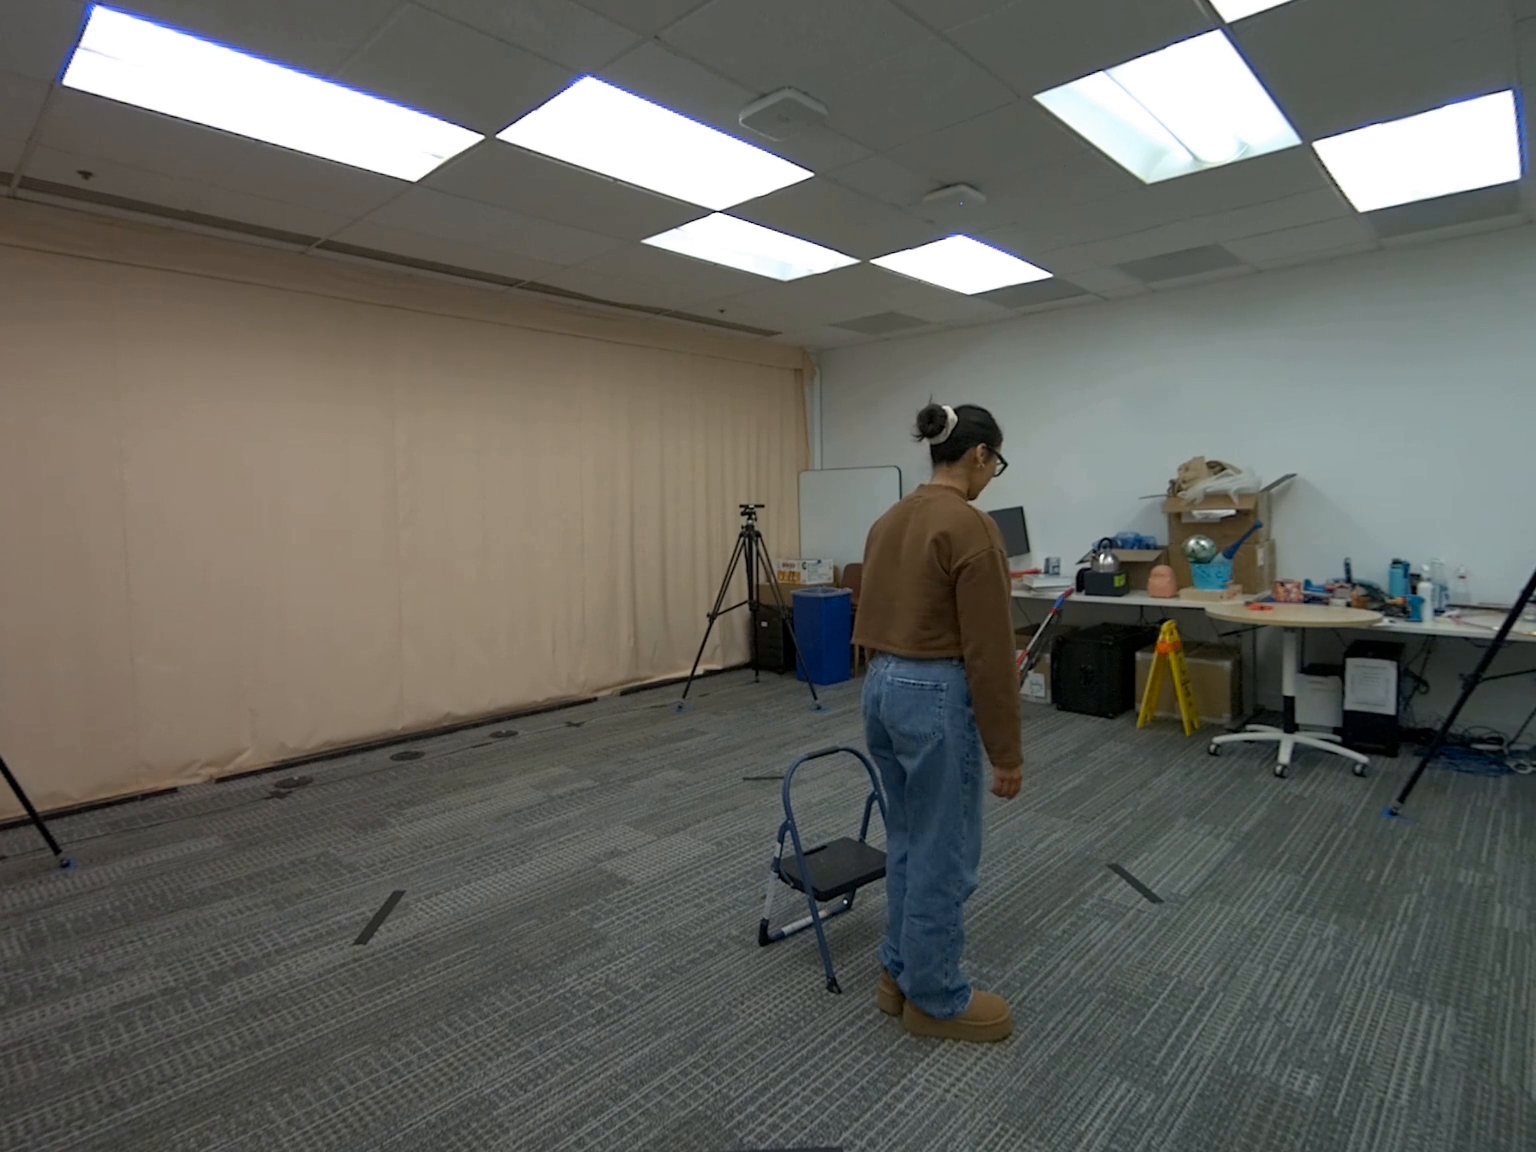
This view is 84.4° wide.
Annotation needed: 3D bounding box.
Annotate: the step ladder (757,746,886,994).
[{"bbox_3d":[0.234,0.861,2.637,0.418,0.605,0.361,-4,5,-40],"label":"step ladder"}]
